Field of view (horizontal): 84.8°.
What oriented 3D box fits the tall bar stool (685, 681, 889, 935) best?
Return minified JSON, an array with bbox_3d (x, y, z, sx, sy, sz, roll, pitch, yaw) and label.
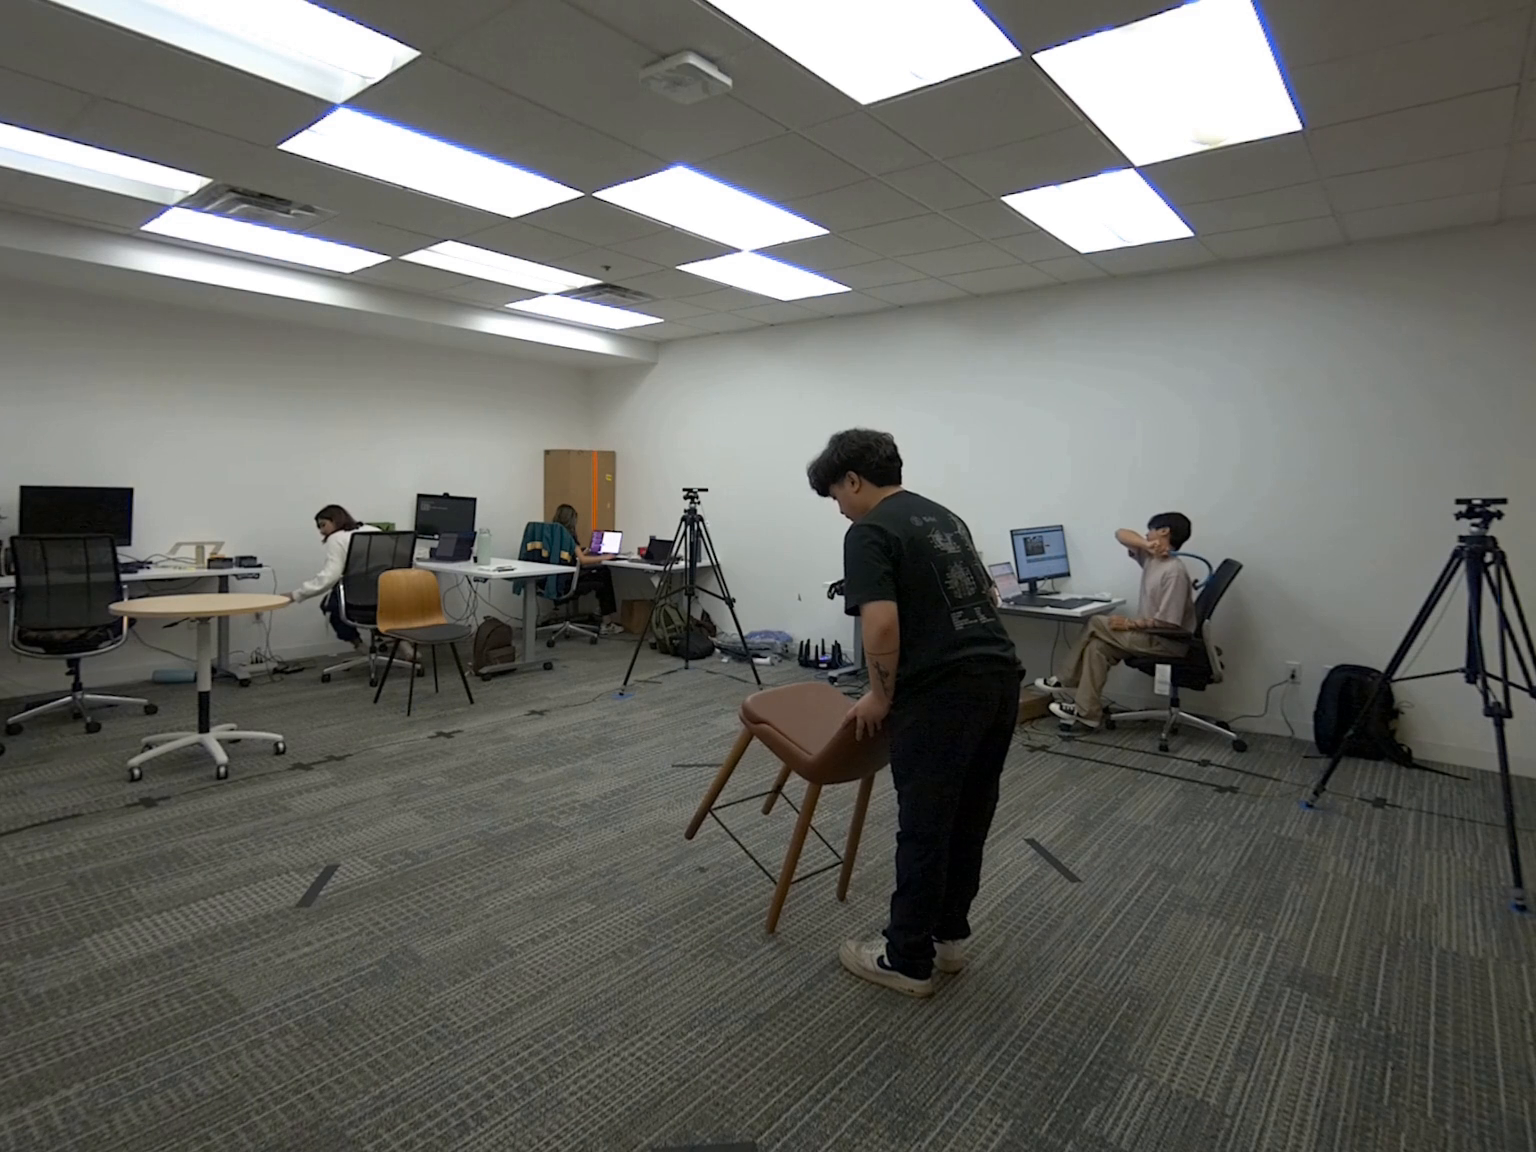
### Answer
[{"bbox_3d":[0.129,0.624,2.774,0.442,0.880,0.487,-1,31,-44],"label":"tall bar stool"}]
